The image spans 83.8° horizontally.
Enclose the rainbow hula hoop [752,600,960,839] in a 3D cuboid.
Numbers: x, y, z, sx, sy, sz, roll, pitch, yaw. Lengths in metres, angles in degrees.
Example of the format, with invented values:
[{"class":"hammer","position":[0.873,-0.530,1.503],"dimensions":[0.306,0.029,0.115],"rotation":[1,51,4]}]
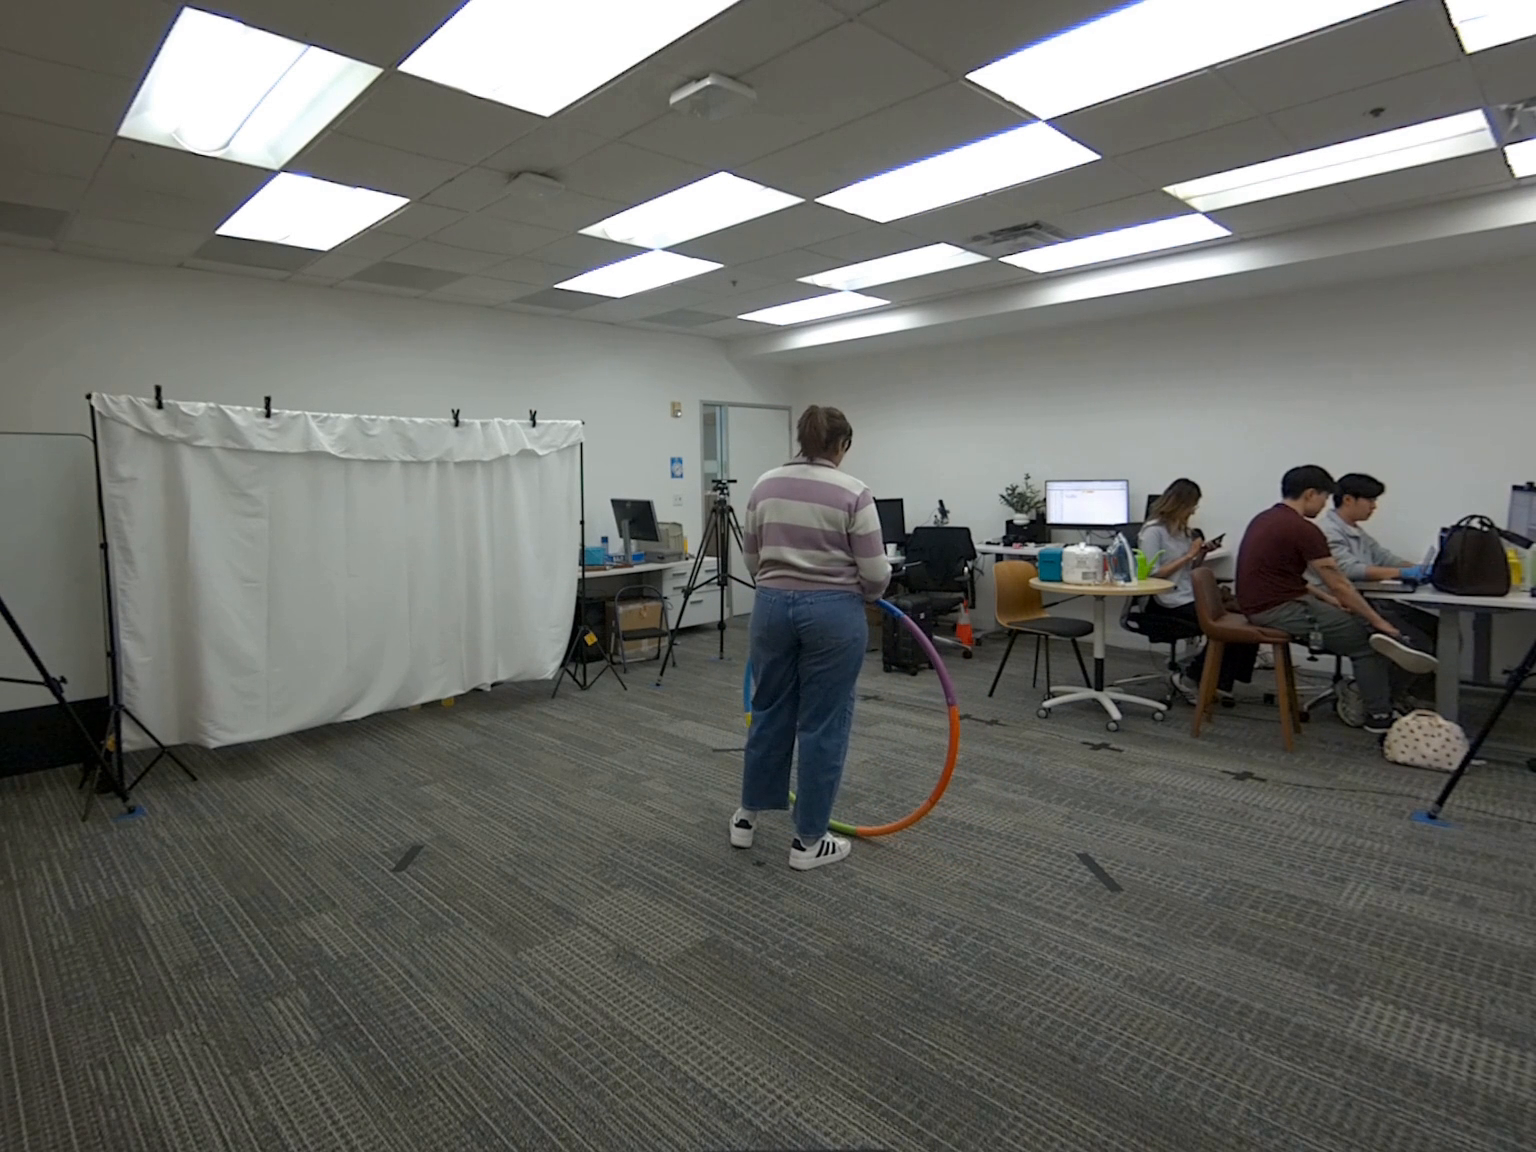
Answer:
[{"class":"rainbow hula hoop","position":[0.281,0.524,3.377],"dimensions":[1.015,0.984,0.050],"rotation":[3,2,42]}]
